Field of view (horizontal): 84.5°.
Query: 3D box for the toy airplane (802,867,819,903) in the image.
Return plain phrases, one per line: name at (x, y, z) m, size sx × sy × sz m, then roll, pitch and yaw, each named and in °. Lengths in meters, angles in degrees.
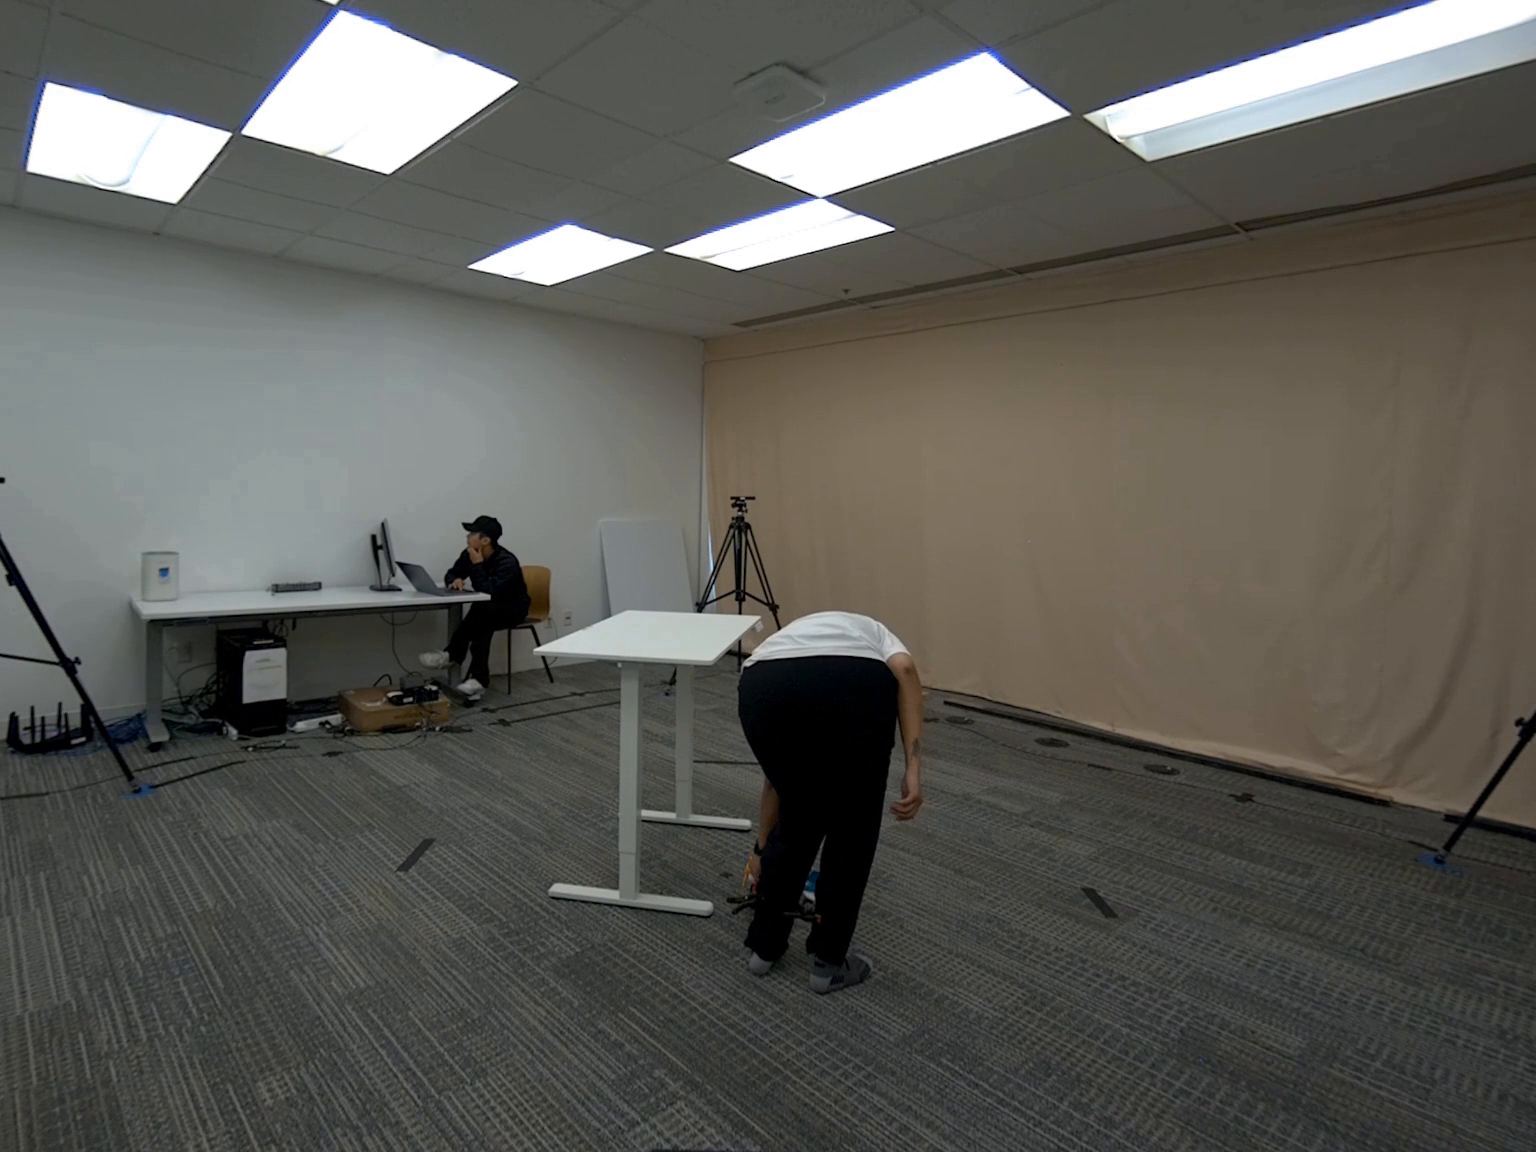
toy airplane at (0.041, 1.066, 2.903) m, size 0.254 × 0.156 × 0.257 m, roll 1°, pitch 7°, yaw -25°
